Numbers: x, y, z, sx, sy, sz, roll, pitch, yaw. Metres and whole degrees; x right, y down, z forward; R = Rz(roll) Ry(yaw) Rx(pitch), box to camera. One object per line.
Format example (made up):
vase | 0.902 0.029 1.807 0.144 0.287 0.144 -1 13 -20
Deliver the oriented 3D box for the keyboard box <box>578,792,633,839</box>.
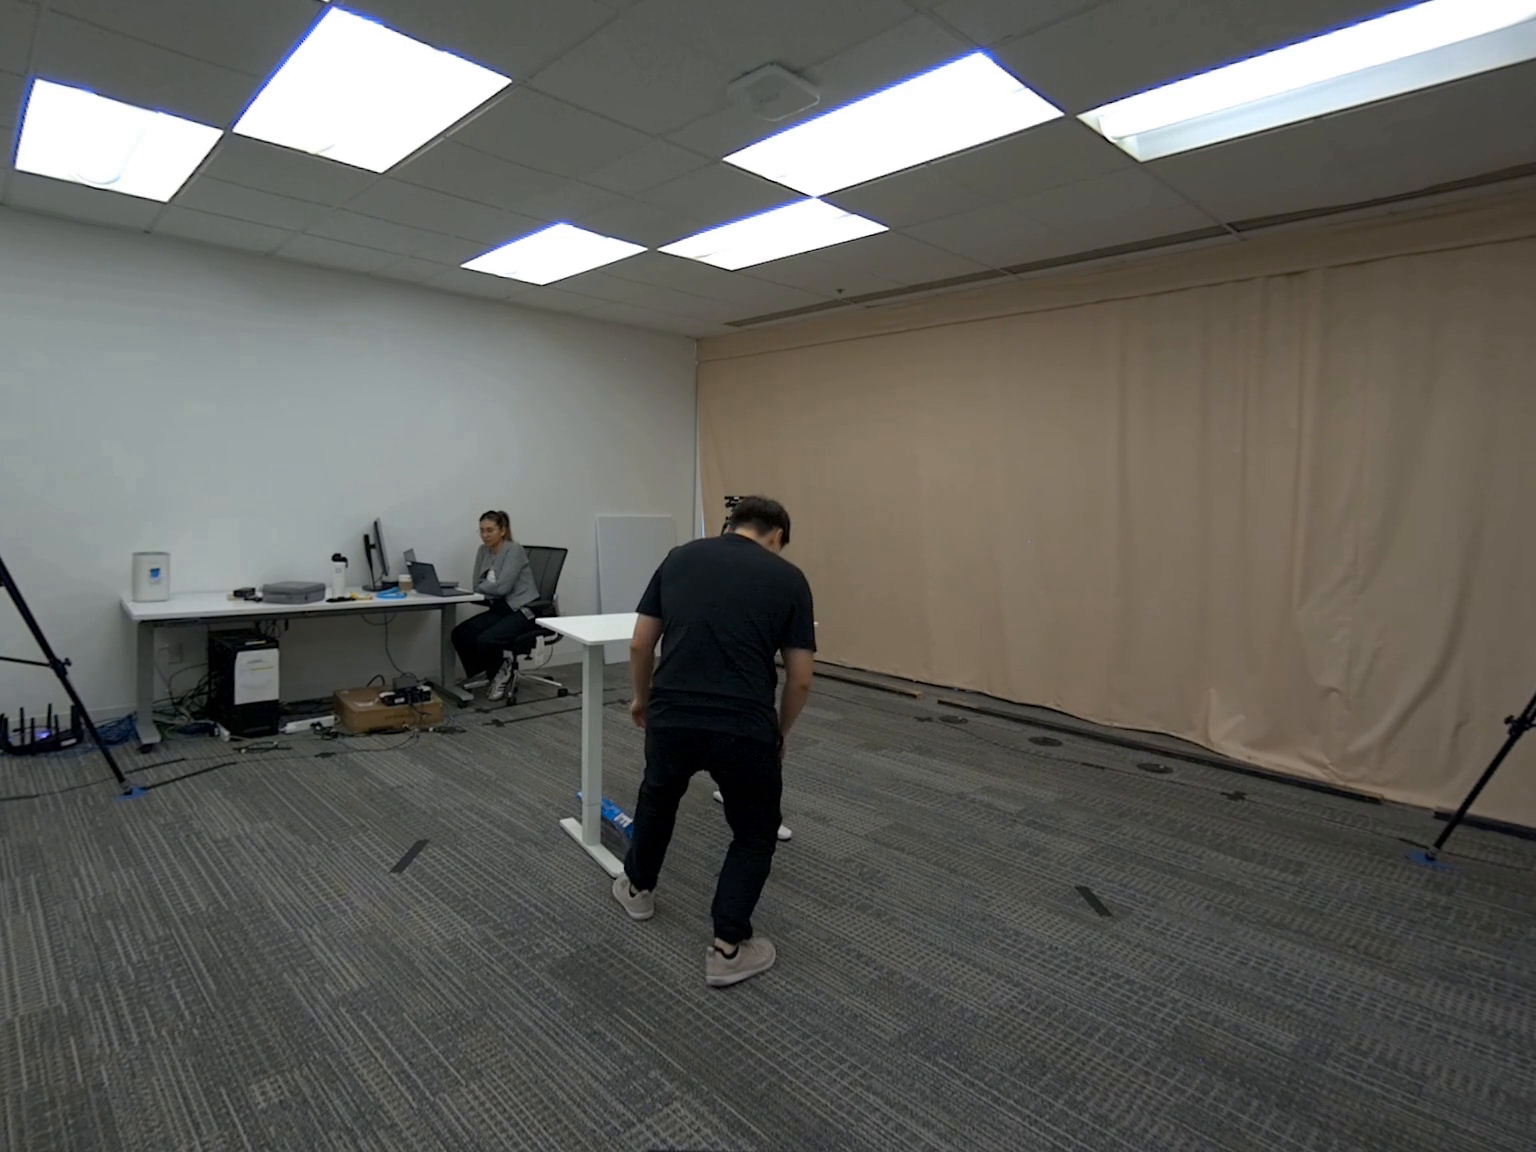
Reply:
keyboard box | -0.626 0.991 3.351 0.058 0.173 0.448 -31 22 -29
